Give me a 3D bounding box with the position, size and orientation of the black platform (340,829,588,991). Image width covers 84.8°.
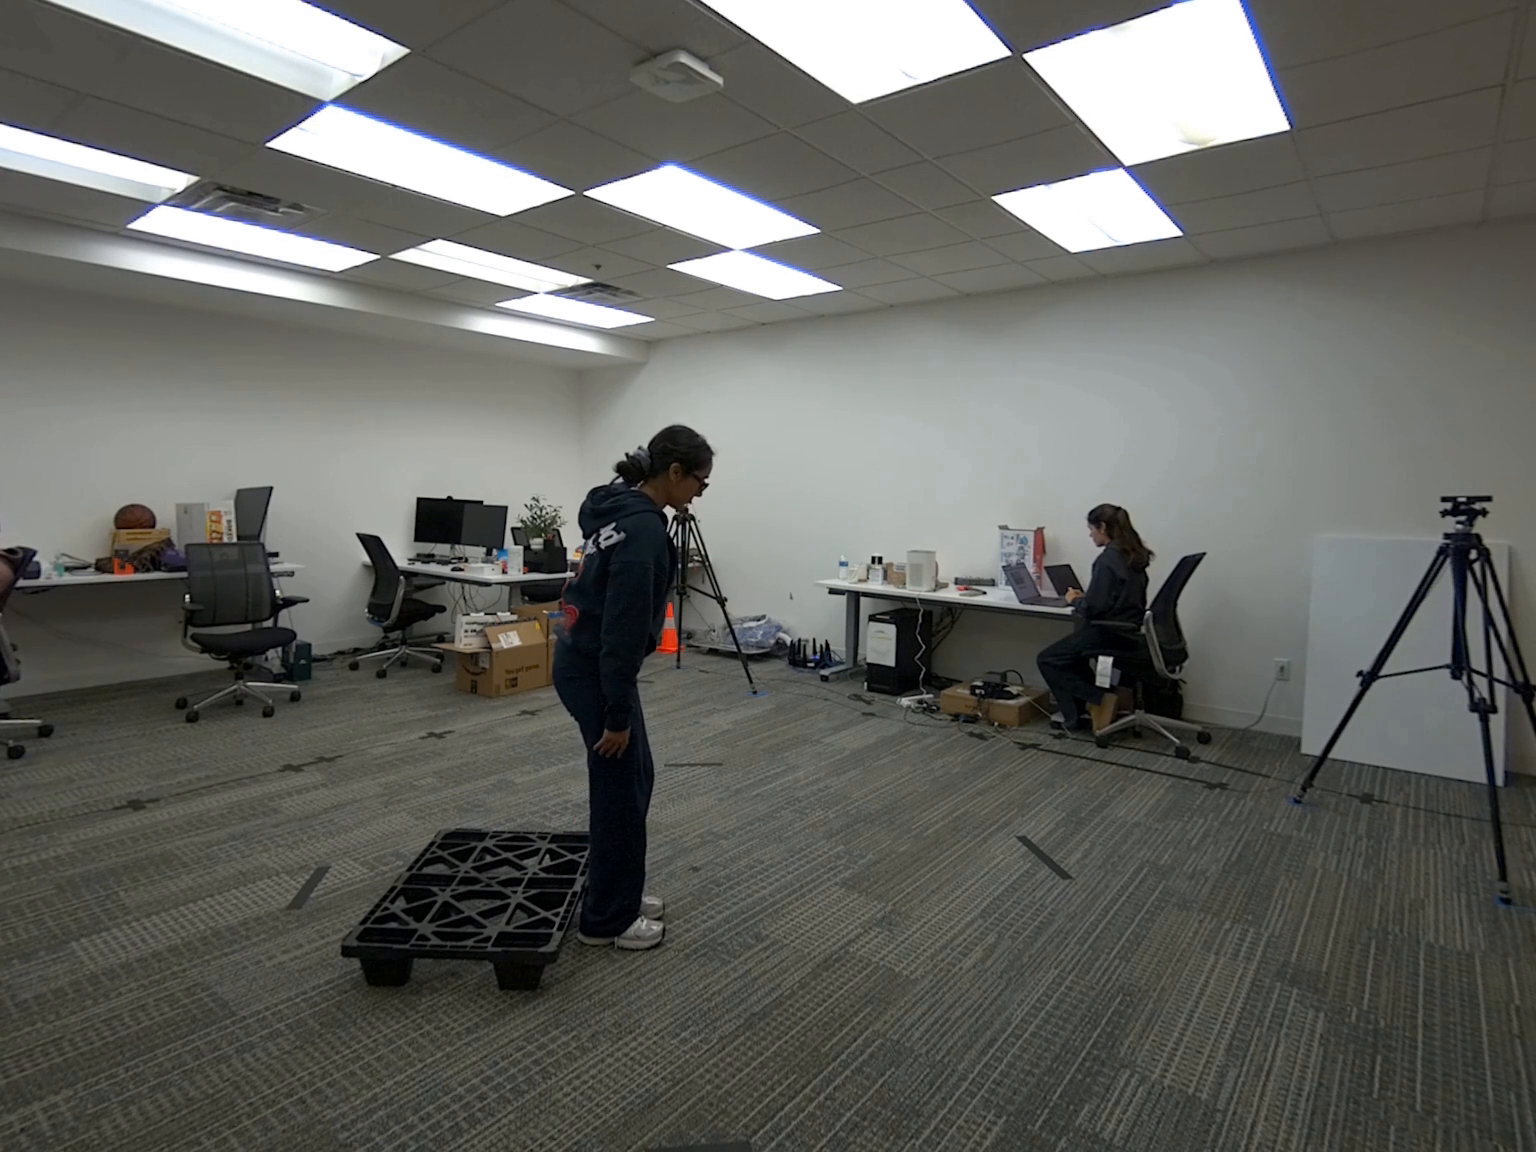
[{"bbox_3d":[-0.899,1.030,2.702,0.605,0.143,0.809,0,6,-1],"label":"black platform"}]
